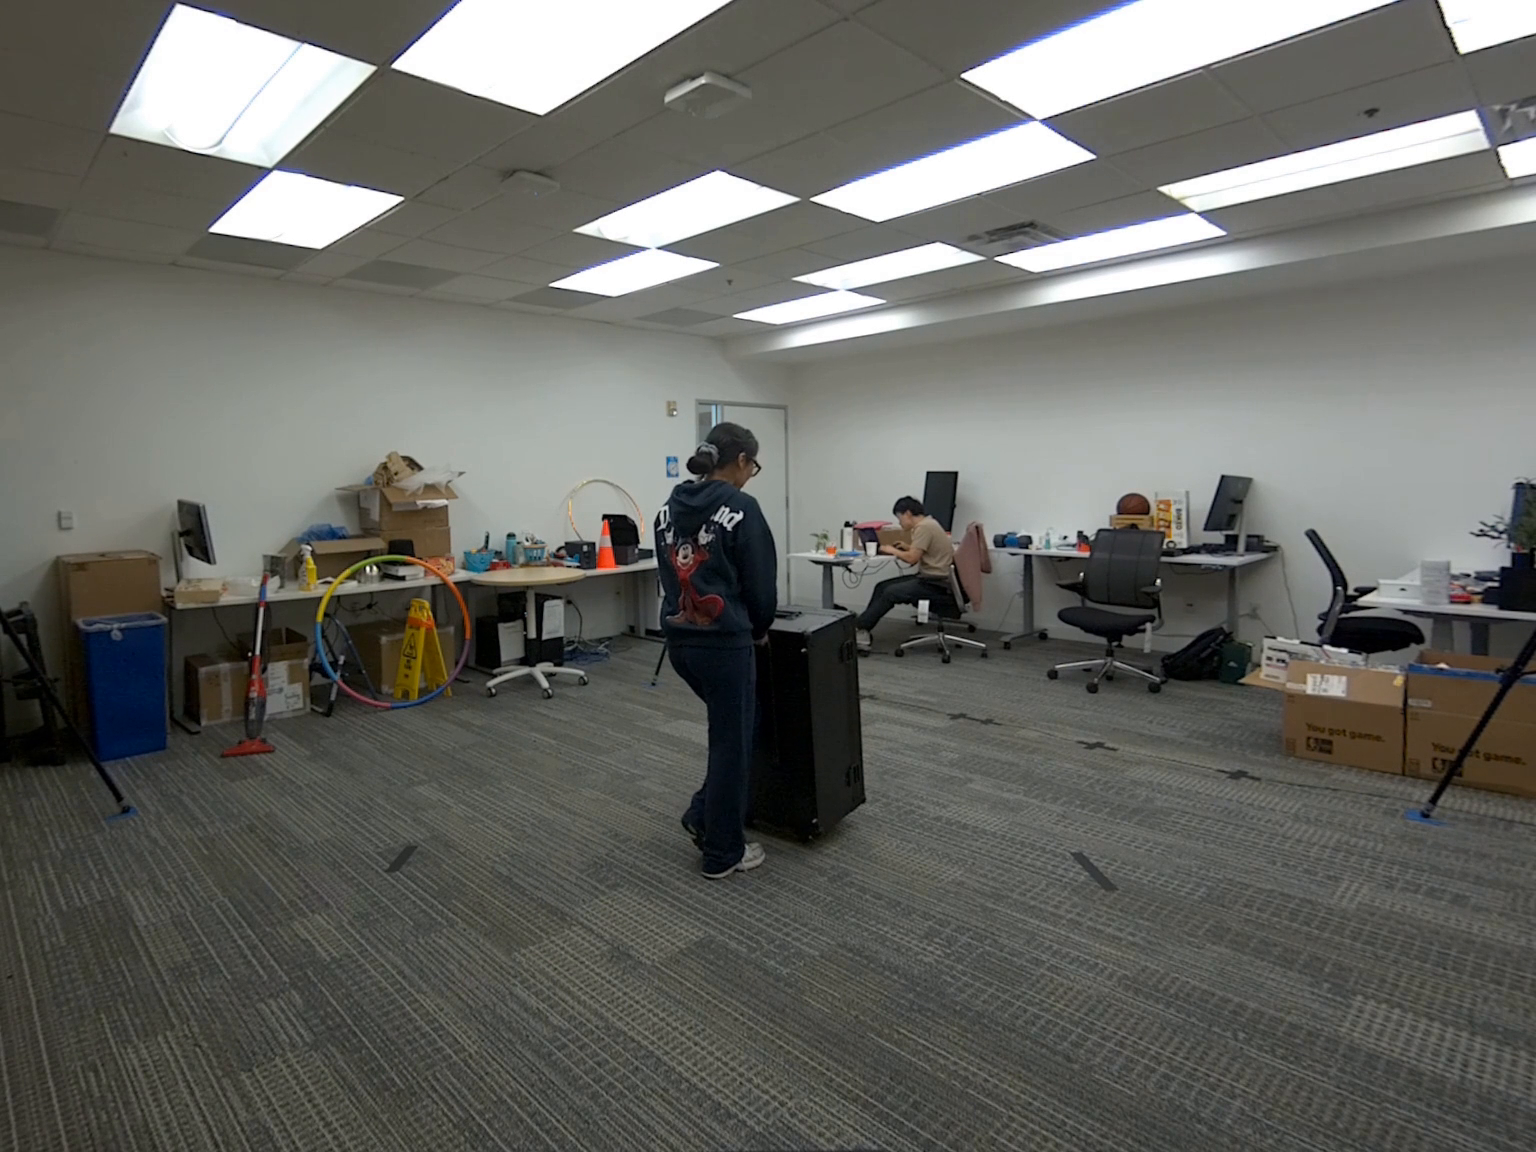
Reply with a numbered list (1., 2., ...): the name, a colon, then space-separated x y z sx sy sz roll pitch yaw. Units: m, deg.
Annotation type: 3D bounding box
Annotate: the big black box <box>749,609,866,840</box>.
1. big black box: 0.072 0.579 3.395 0.536 0.854 0.388 2 11 37
